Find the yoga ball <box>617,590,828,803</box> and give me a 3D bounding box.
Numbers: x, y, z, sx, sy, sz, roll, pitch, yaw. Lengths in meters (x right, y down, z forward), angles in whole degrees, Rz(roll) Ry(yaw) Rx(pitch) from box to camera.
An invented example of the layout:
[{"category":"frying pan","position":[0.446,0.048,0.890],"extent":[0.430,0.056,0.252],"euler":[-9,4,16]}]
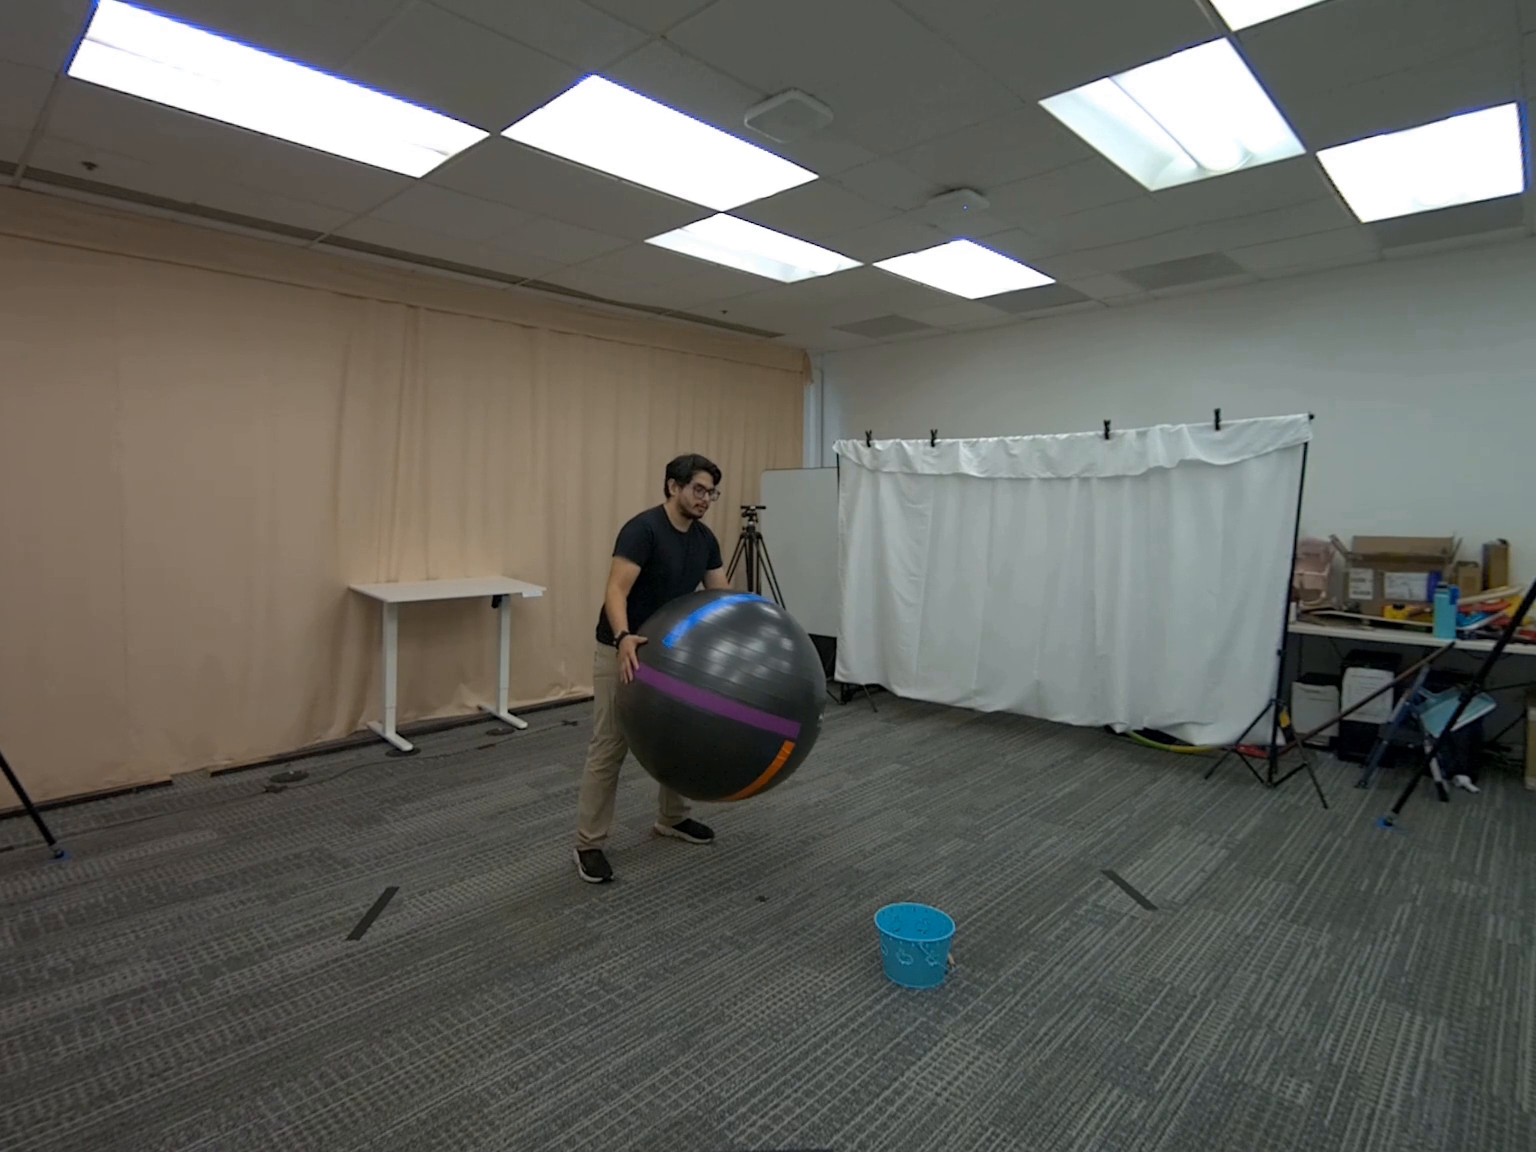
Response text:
[{"category":"yoga ball","position":[-0.164,0.436,3.054],"extent":[0.757,0.756,0.761],"euler":[0,4,-2]}]
